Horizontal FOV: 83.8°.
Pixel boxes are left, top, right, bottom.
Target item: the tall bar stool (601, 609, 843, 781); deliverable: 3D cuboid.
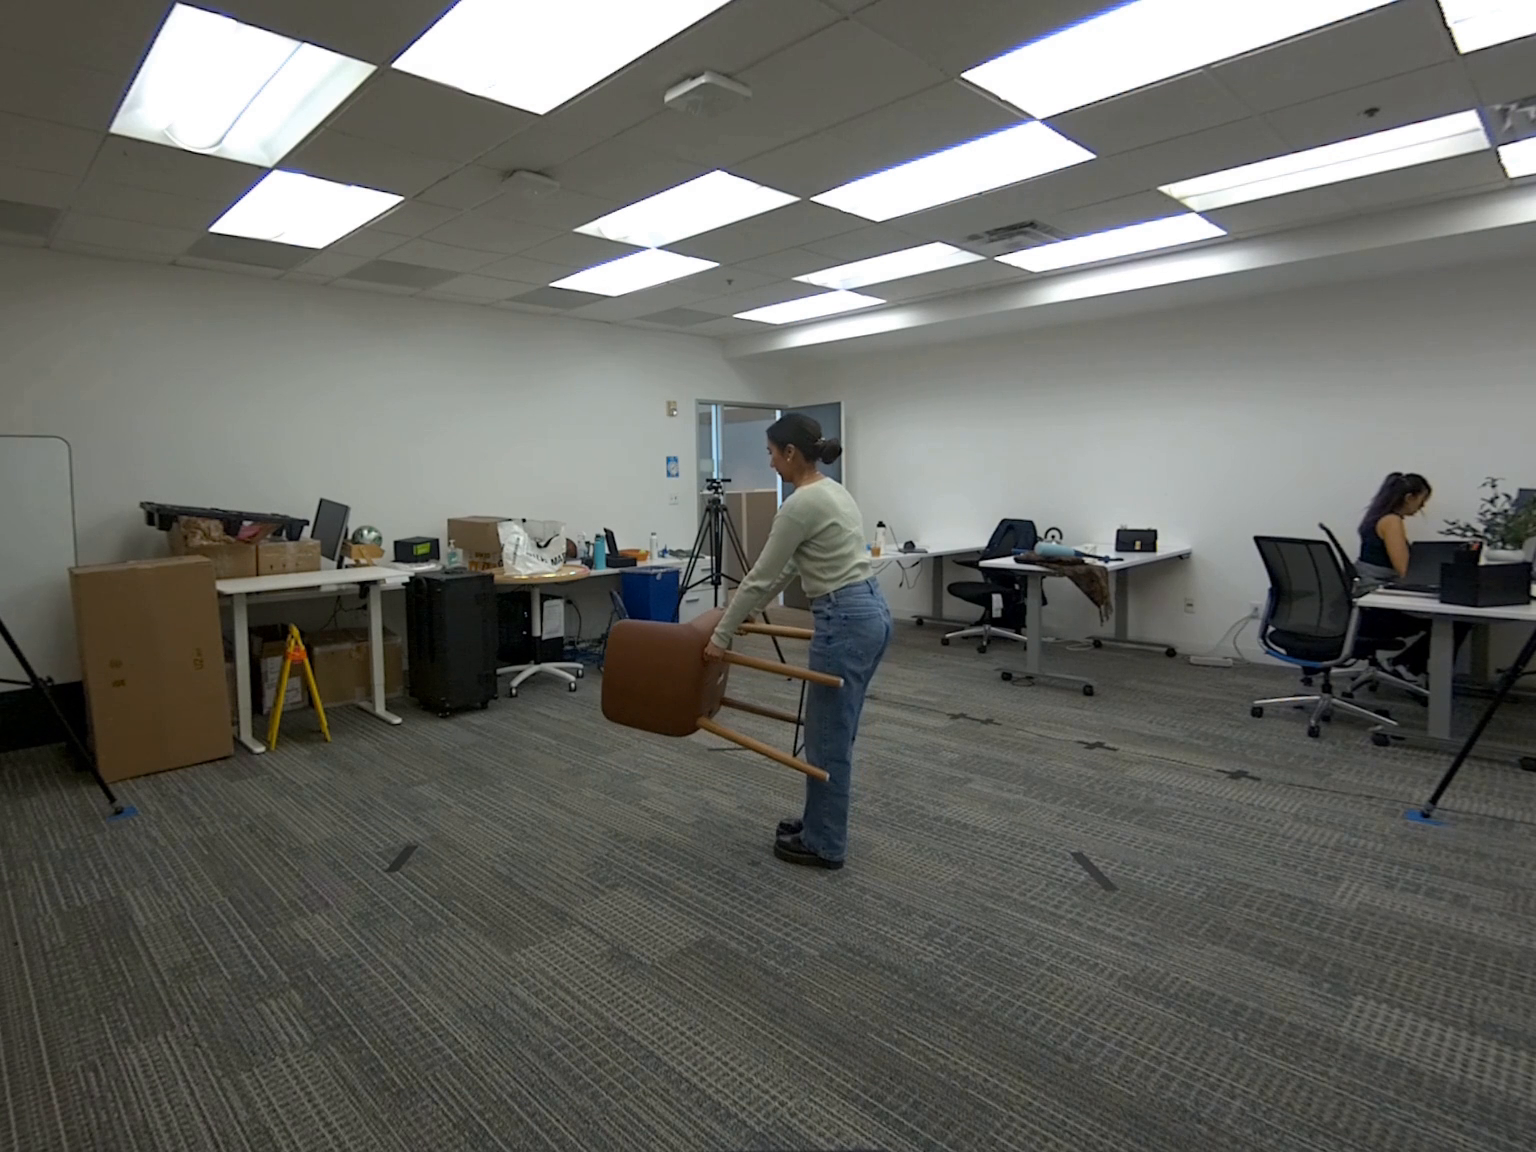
[{"bbox_3d":[-0.129,0.398,3.211,0.907,0.451,0.464,10,15,17],"label":"tall bar stool"}]
